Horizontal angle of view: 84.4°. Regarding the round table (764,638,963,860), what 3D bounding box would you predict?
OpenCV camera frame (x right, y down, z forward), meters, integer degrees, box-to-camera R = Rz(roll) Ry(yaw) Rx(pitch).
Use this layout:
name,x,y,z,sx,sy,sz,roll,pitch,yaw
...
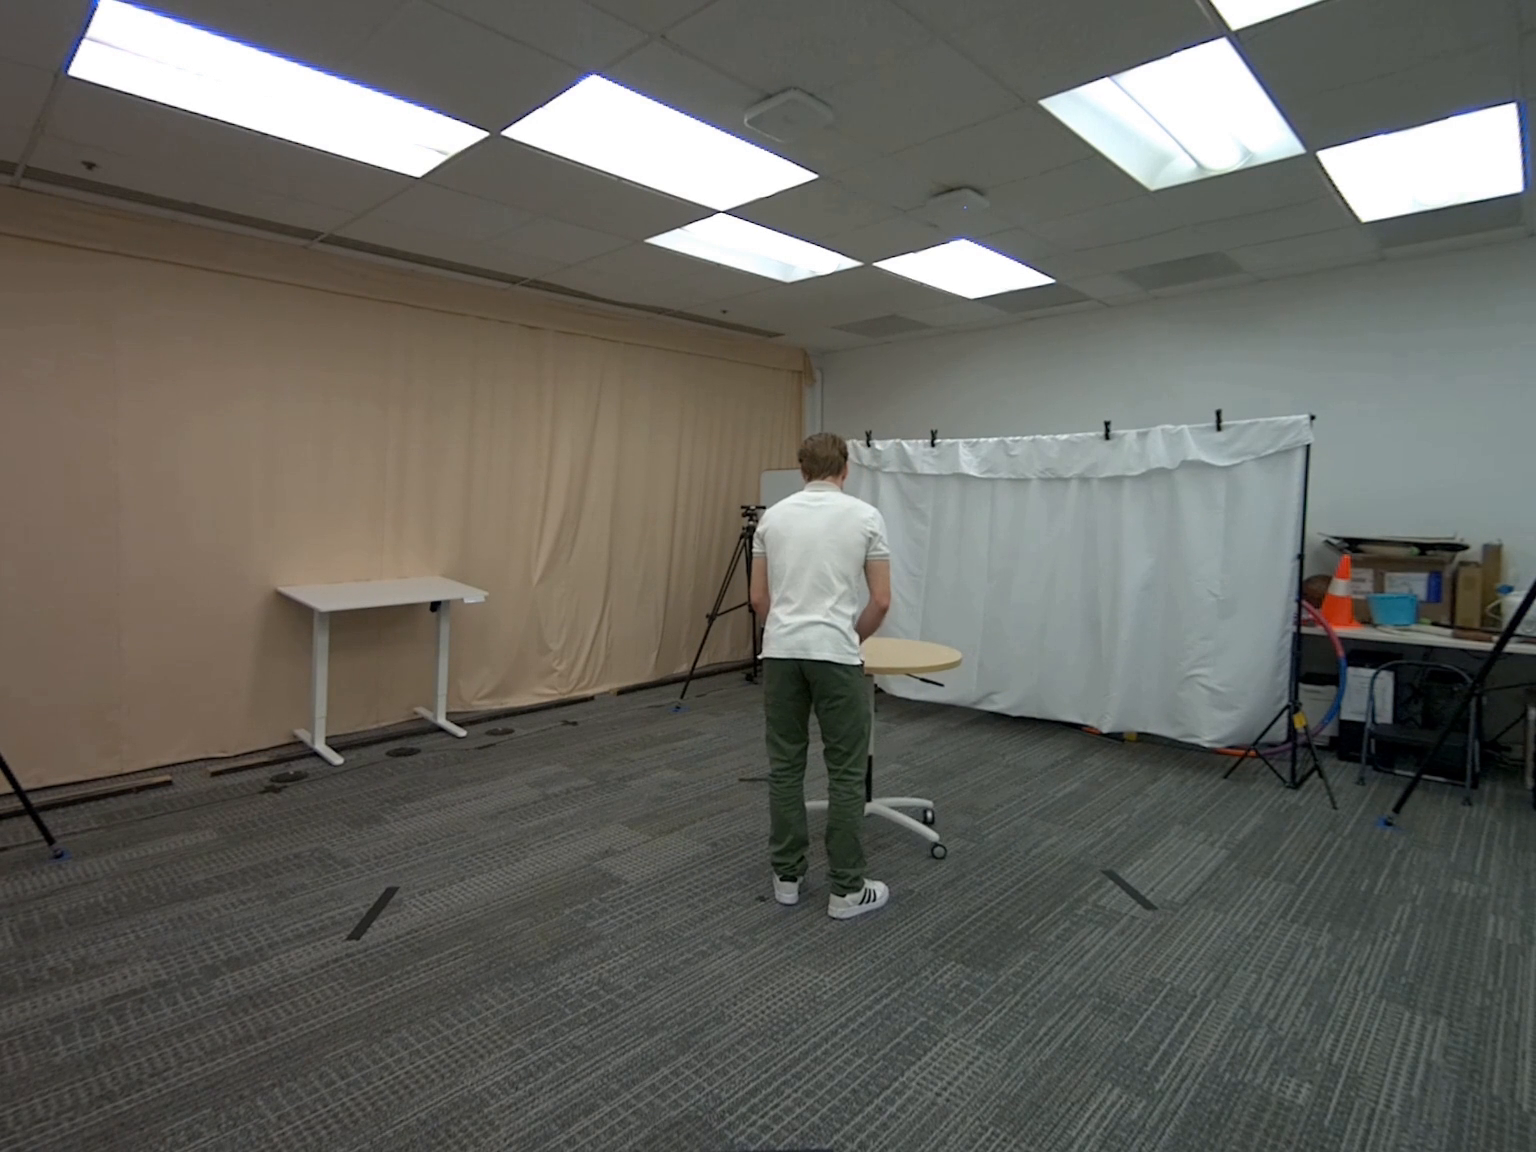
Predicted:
name,x,y,z,sx,sy,sz,roll,pitch,yaw
round table,0.430,0.707,3.559,0.763,0.792,0.766,0,3,-2
